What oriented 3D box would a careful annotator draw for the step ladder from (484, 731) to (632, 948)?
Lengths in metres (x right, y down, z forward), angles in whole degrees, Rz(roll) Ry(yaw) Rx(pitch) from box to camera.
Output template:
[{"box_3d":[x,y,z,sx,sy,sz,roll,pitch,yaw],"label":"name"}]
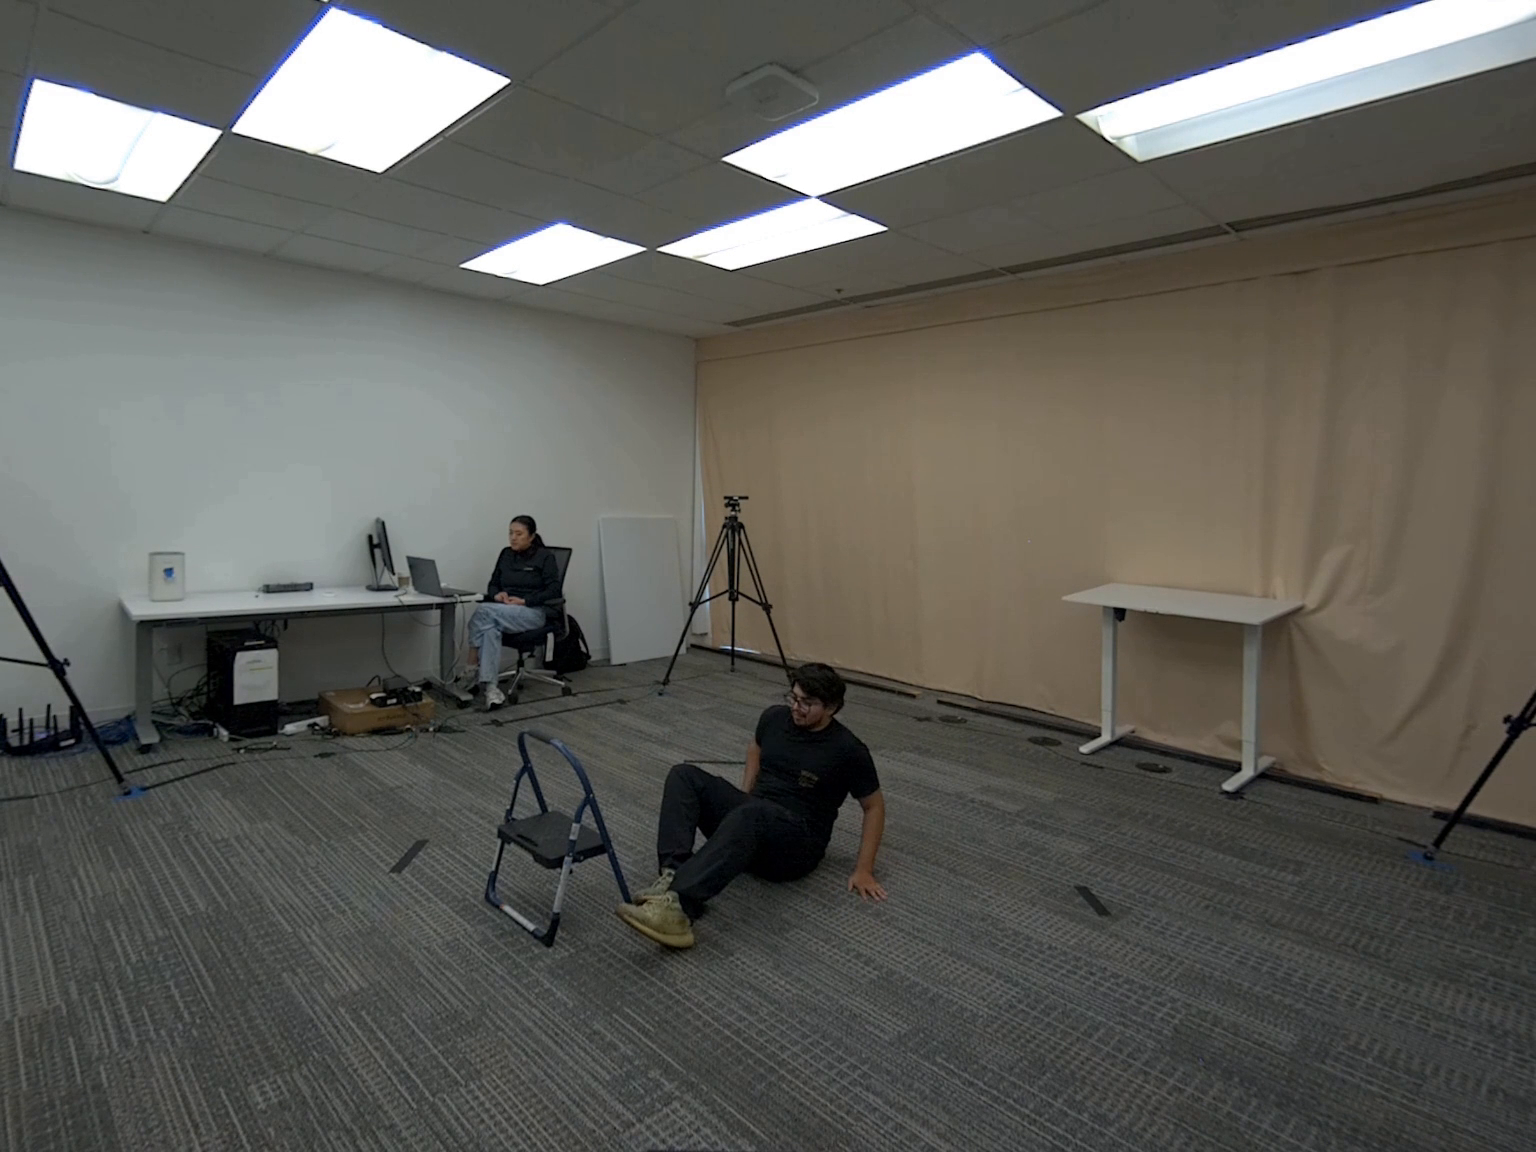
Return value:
[{"box_3d":[-0.701,0.814,2.823,0.341,0.604,0.441,-2,5,-45],"label":"step ladder"}]
